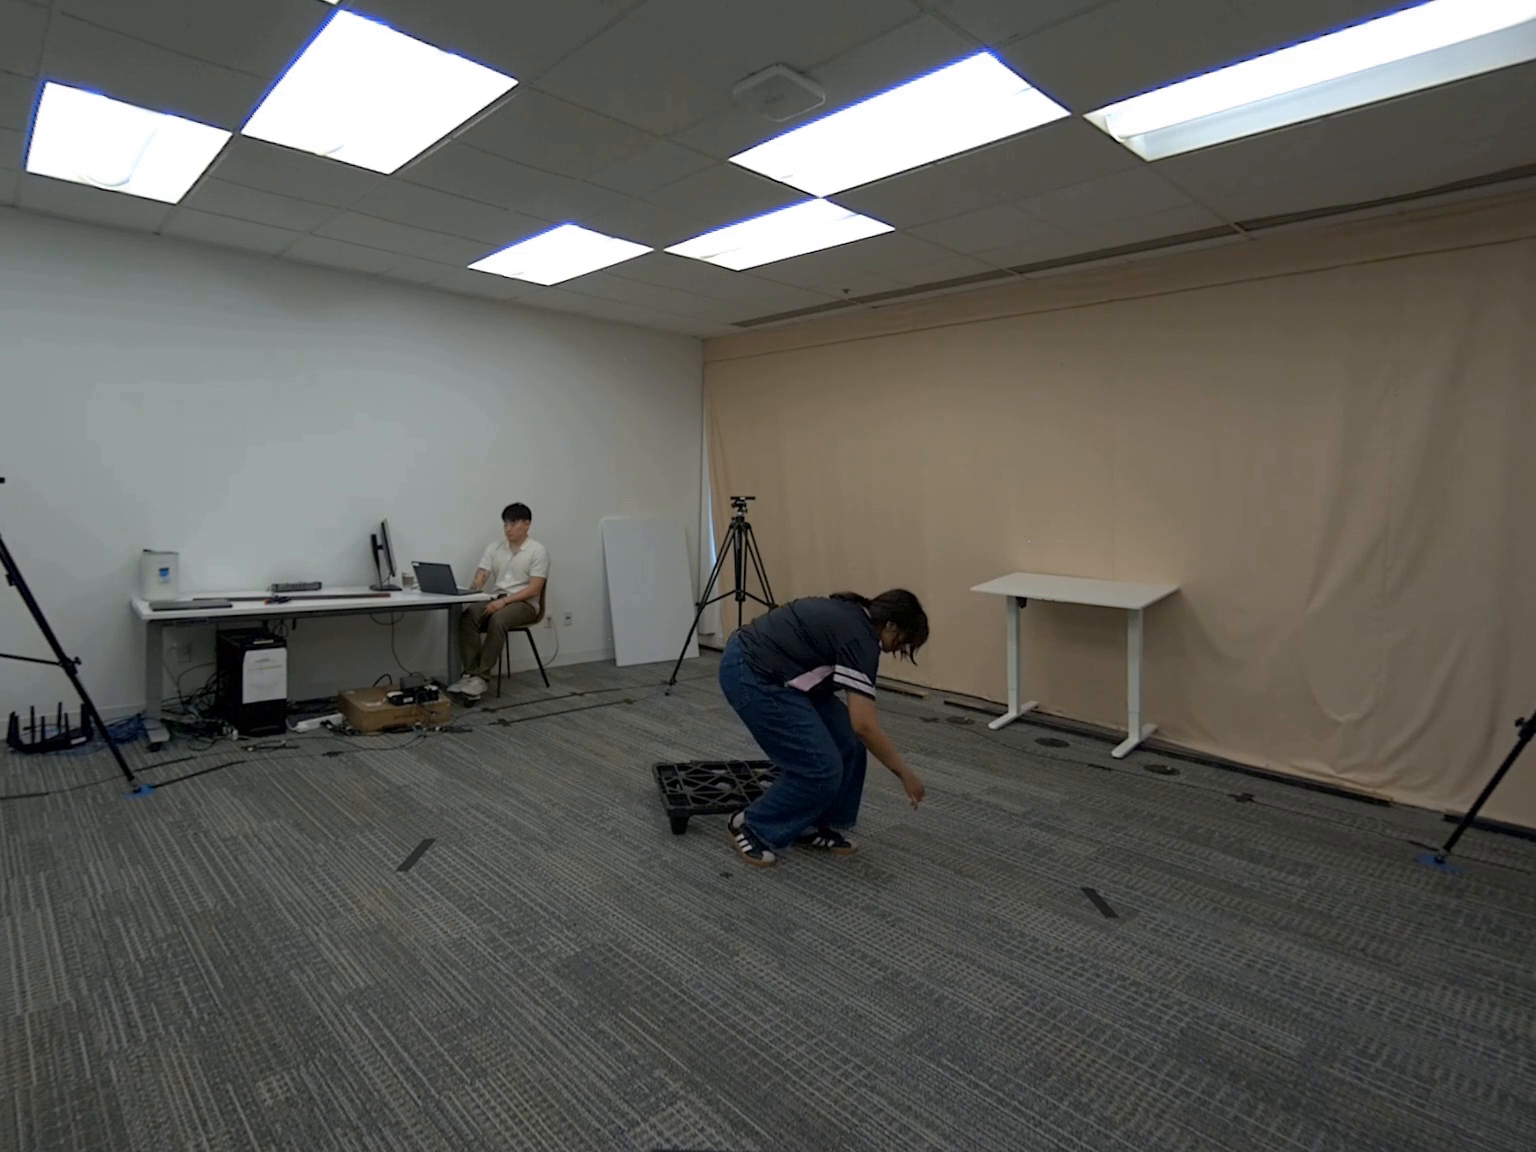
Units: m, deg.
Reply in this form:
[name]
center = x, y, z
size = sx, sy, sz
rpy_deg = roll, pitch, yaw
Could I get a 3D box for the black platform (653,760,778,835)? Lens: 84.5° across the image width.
[black platform]
center = -0.094, 0.981, 3.766
size = 0.798, 0.143, 0.613
rpy_deg = 0, 6, -12
